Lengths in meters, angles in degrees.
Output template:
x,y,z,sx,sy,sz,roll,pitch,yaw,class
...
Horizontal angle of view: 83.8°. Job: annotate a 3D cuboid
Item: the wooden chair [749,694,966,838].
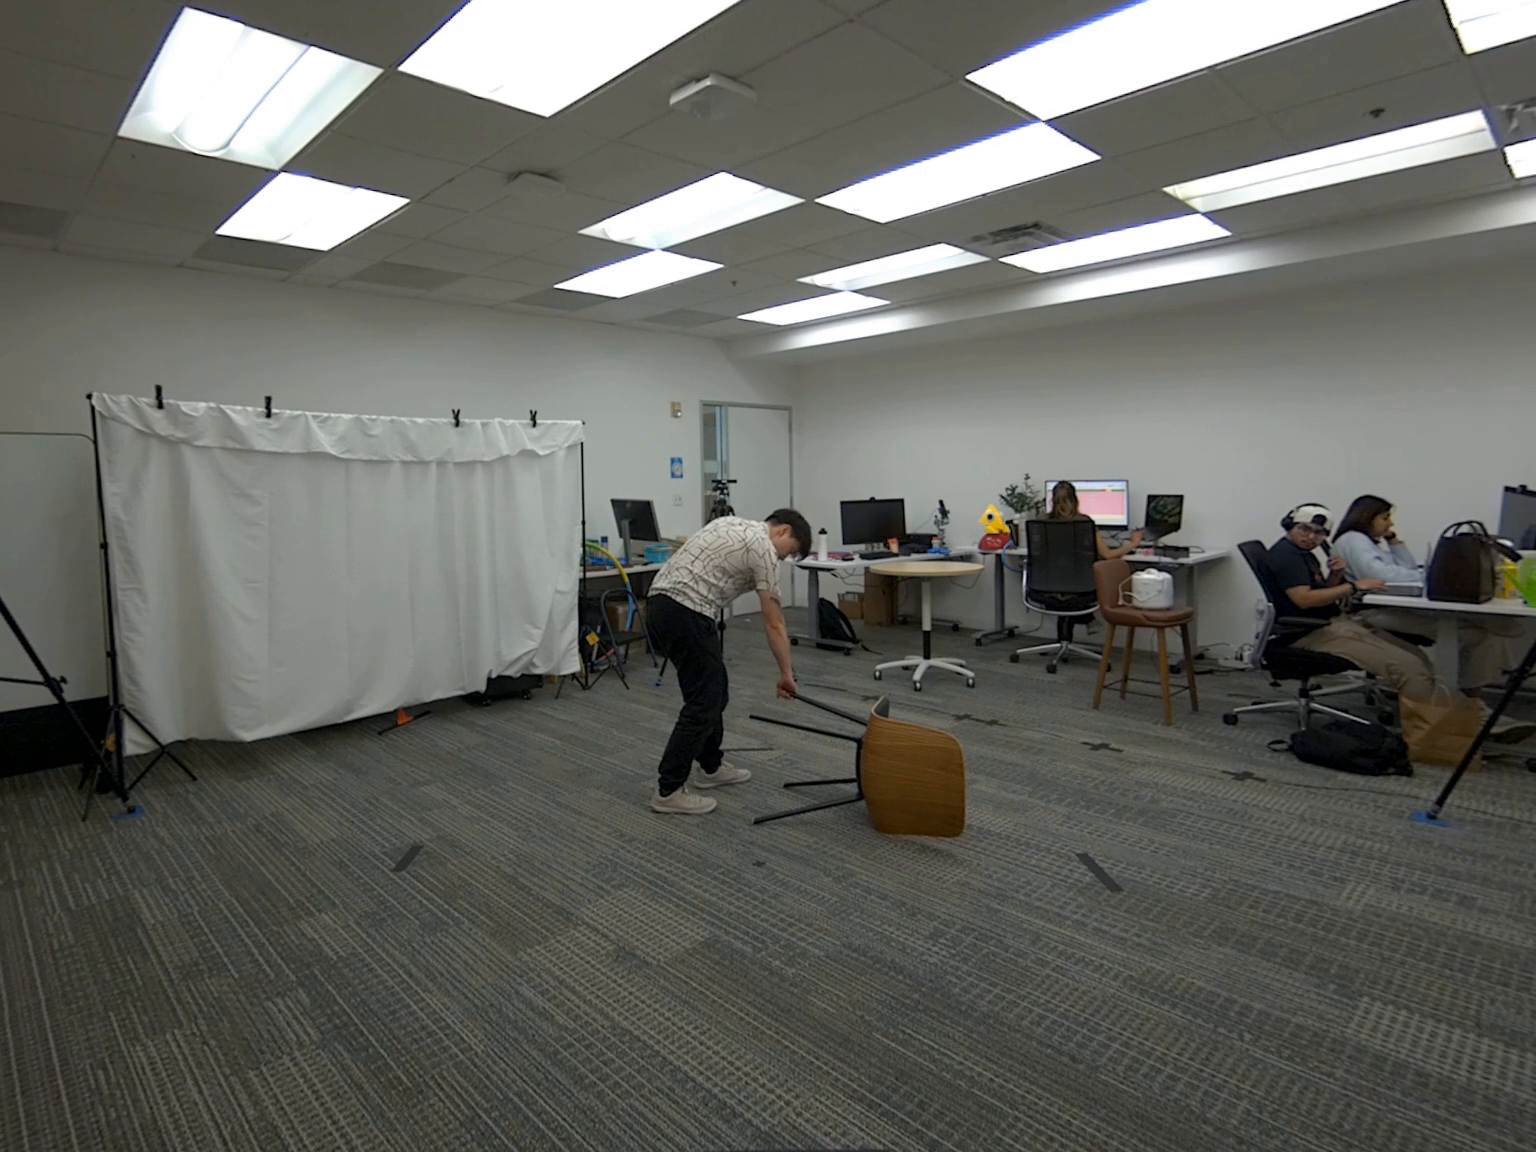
x,y,z,sx,sy,sz,roll,pitch,yaw,class
0.411,0.767,3.526,0.897,0.477,0.513,0,4,24,wooden chair
